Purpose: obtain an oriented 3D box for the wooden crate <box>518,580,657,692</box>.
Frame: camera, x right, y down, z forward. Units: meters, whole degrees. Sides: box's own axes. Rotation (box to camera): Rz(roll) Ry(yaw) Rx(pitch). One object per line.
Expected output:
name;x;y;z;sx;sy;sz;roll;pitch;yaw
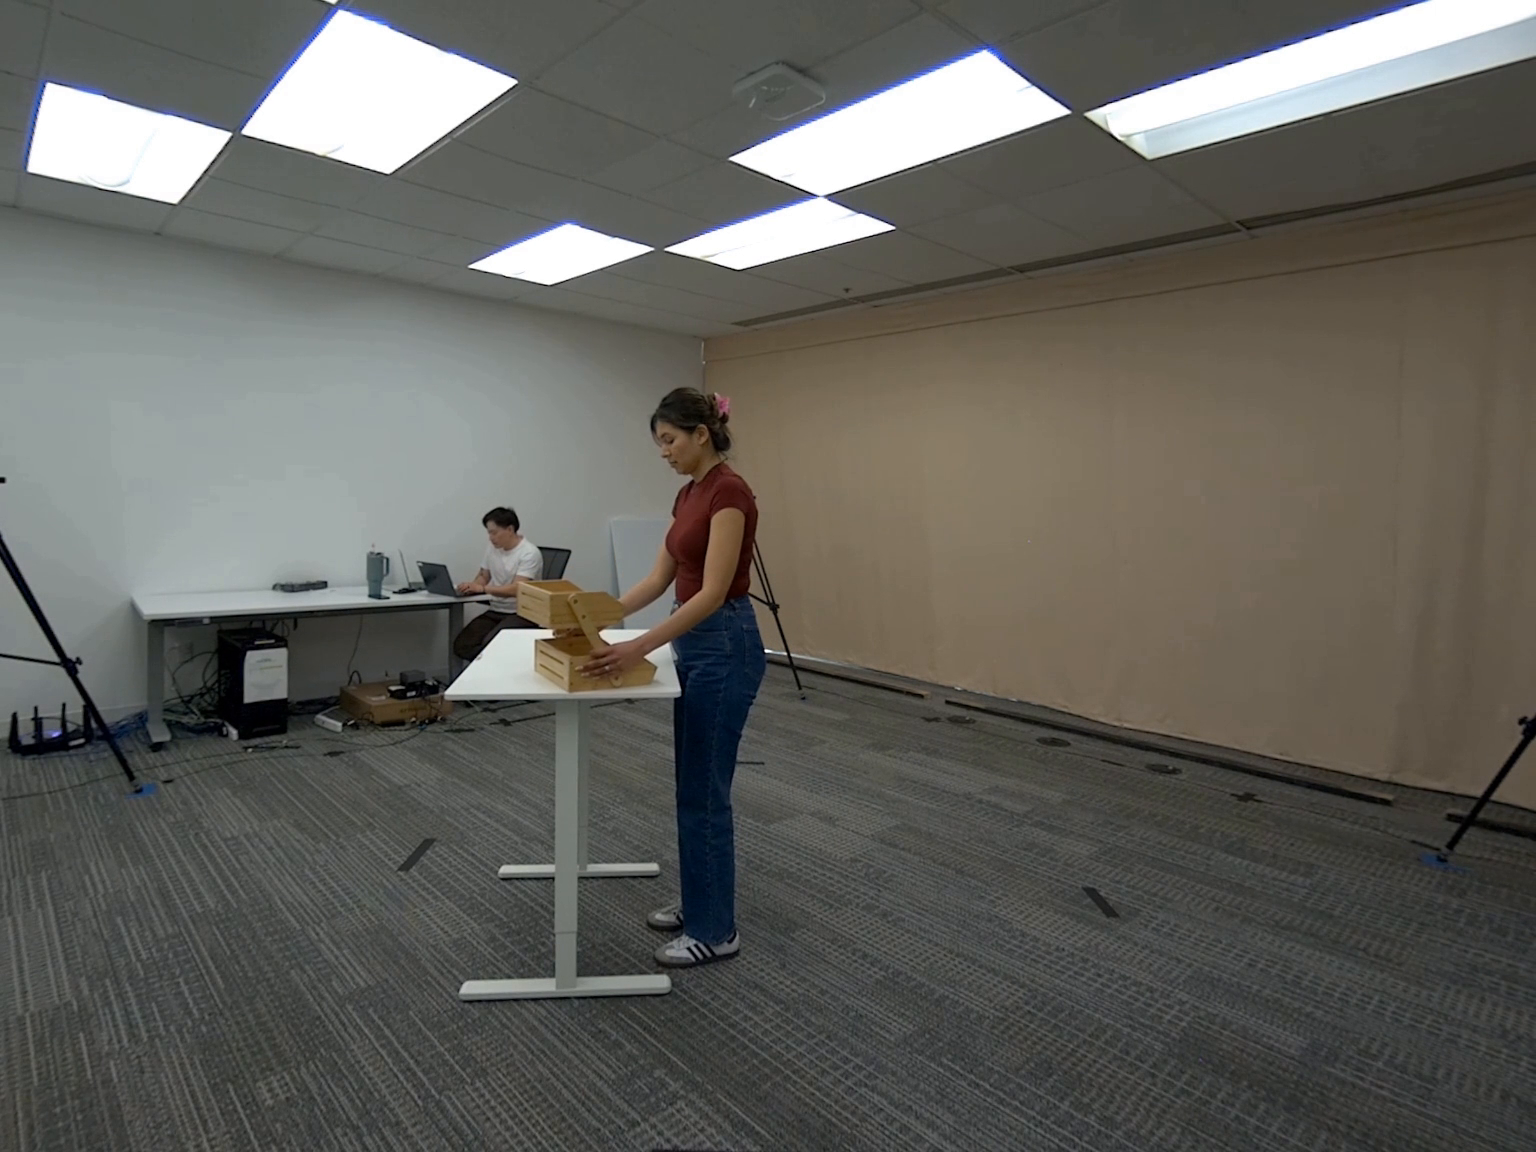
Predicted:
wooden crate;-0.513;0.153;2.328;0.296;0.272;0.332;-3;6;-30
